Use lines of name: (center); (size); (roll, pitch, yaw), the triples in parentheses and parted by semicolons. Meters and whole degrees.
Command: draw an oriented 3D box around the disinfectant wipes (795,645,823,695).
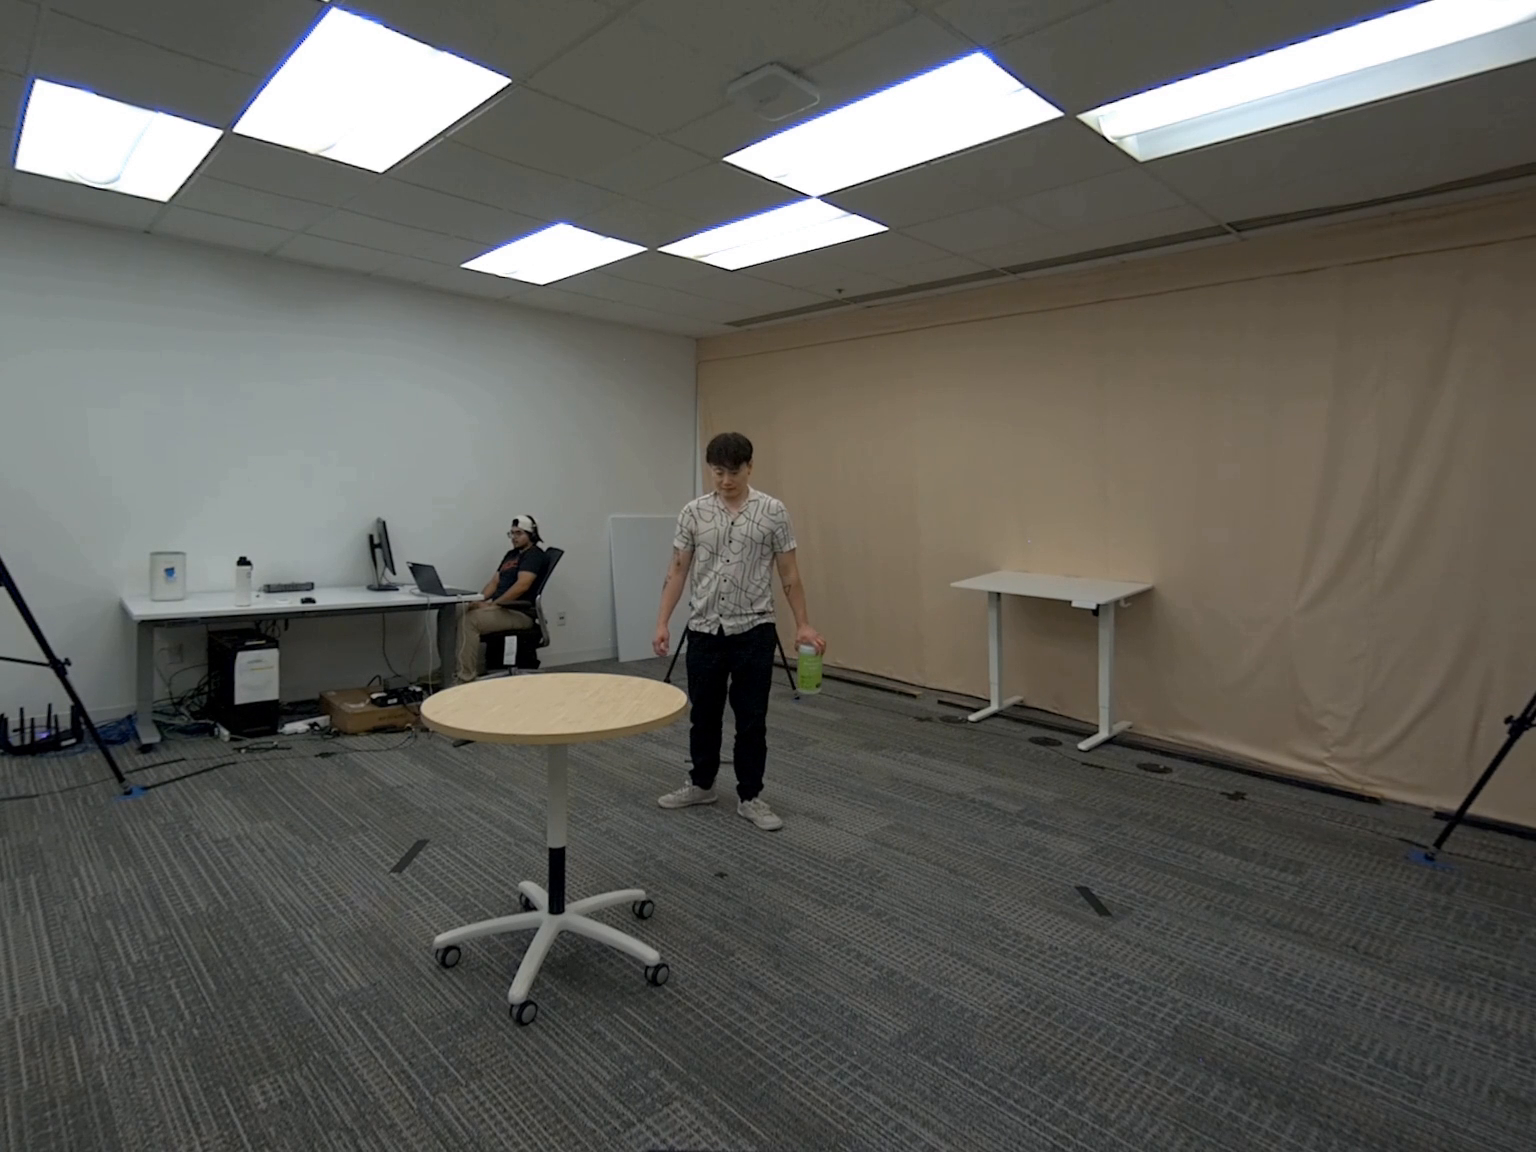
disinfectant wipes: (0.164, 0.392, 3.616); (0.118, 0.215, 0.119); (1, 14, -2)
